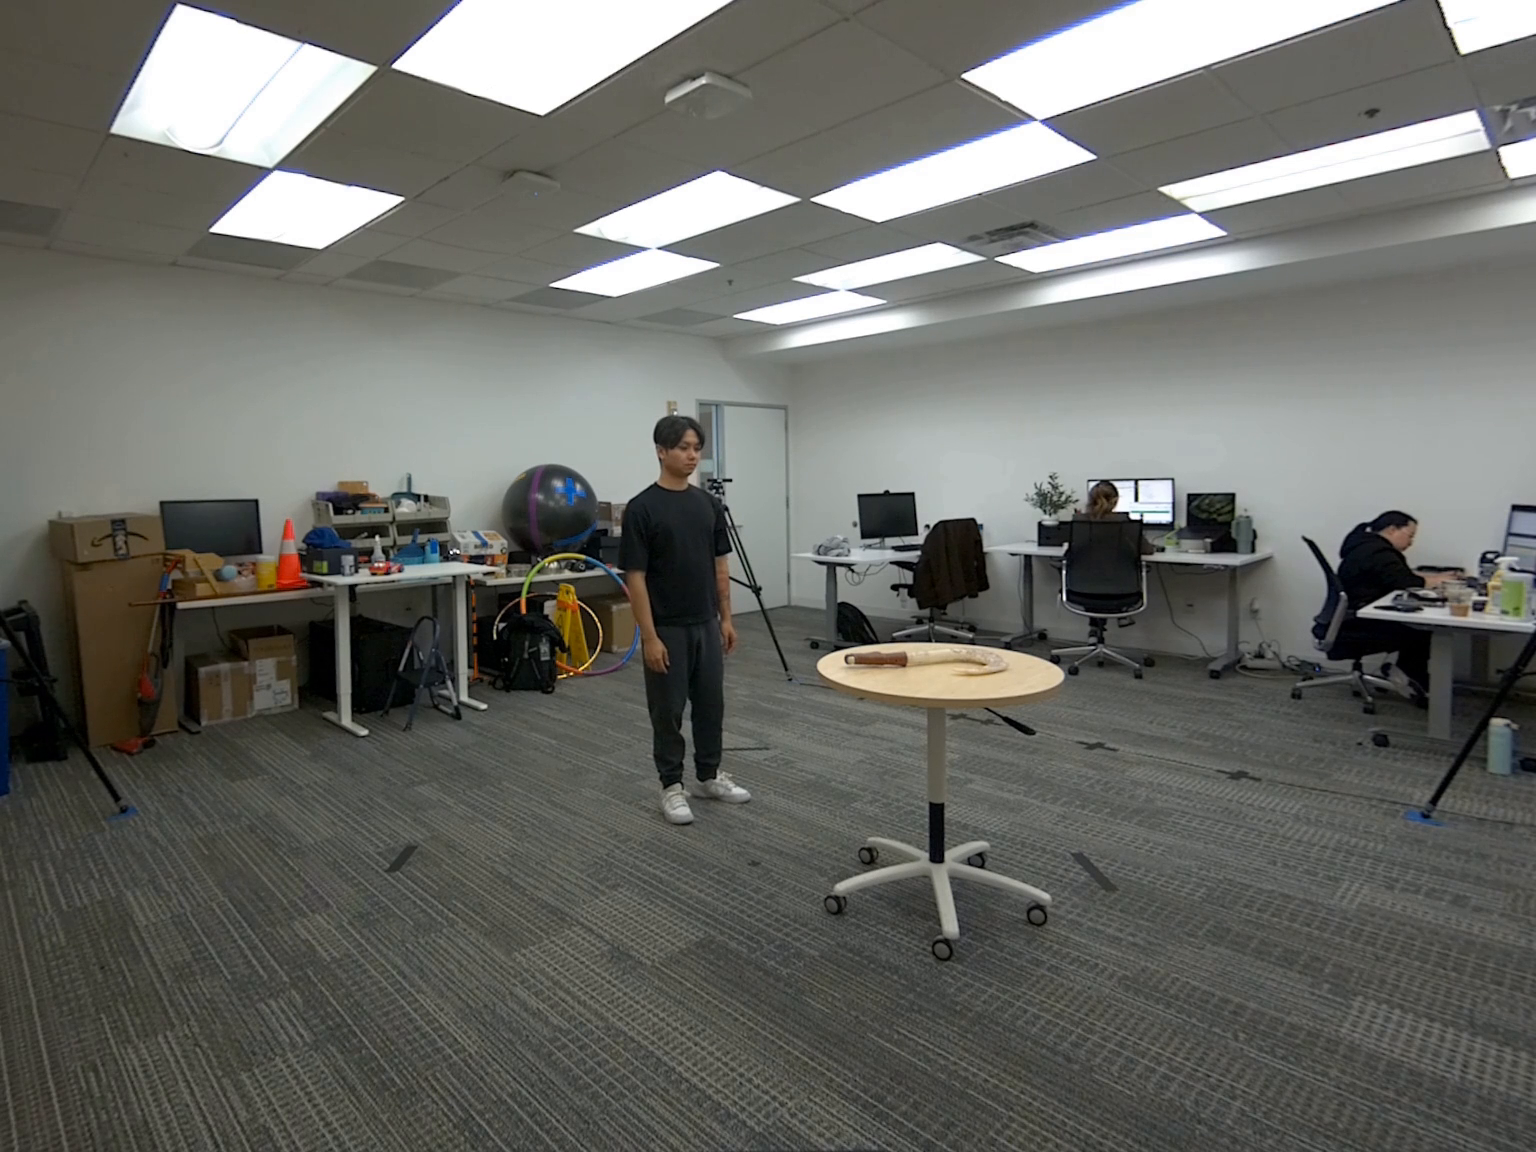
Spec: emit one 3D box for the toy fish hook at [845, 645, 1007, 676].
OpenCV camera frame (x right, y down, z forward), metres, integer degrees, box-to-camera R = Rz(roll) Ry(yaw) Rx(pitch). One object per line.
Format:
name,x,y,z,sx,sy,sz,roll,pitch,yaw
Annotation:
toy fish hook,0.512,0.271,2.714,0.505,0.048,0.226,0,4,-2
